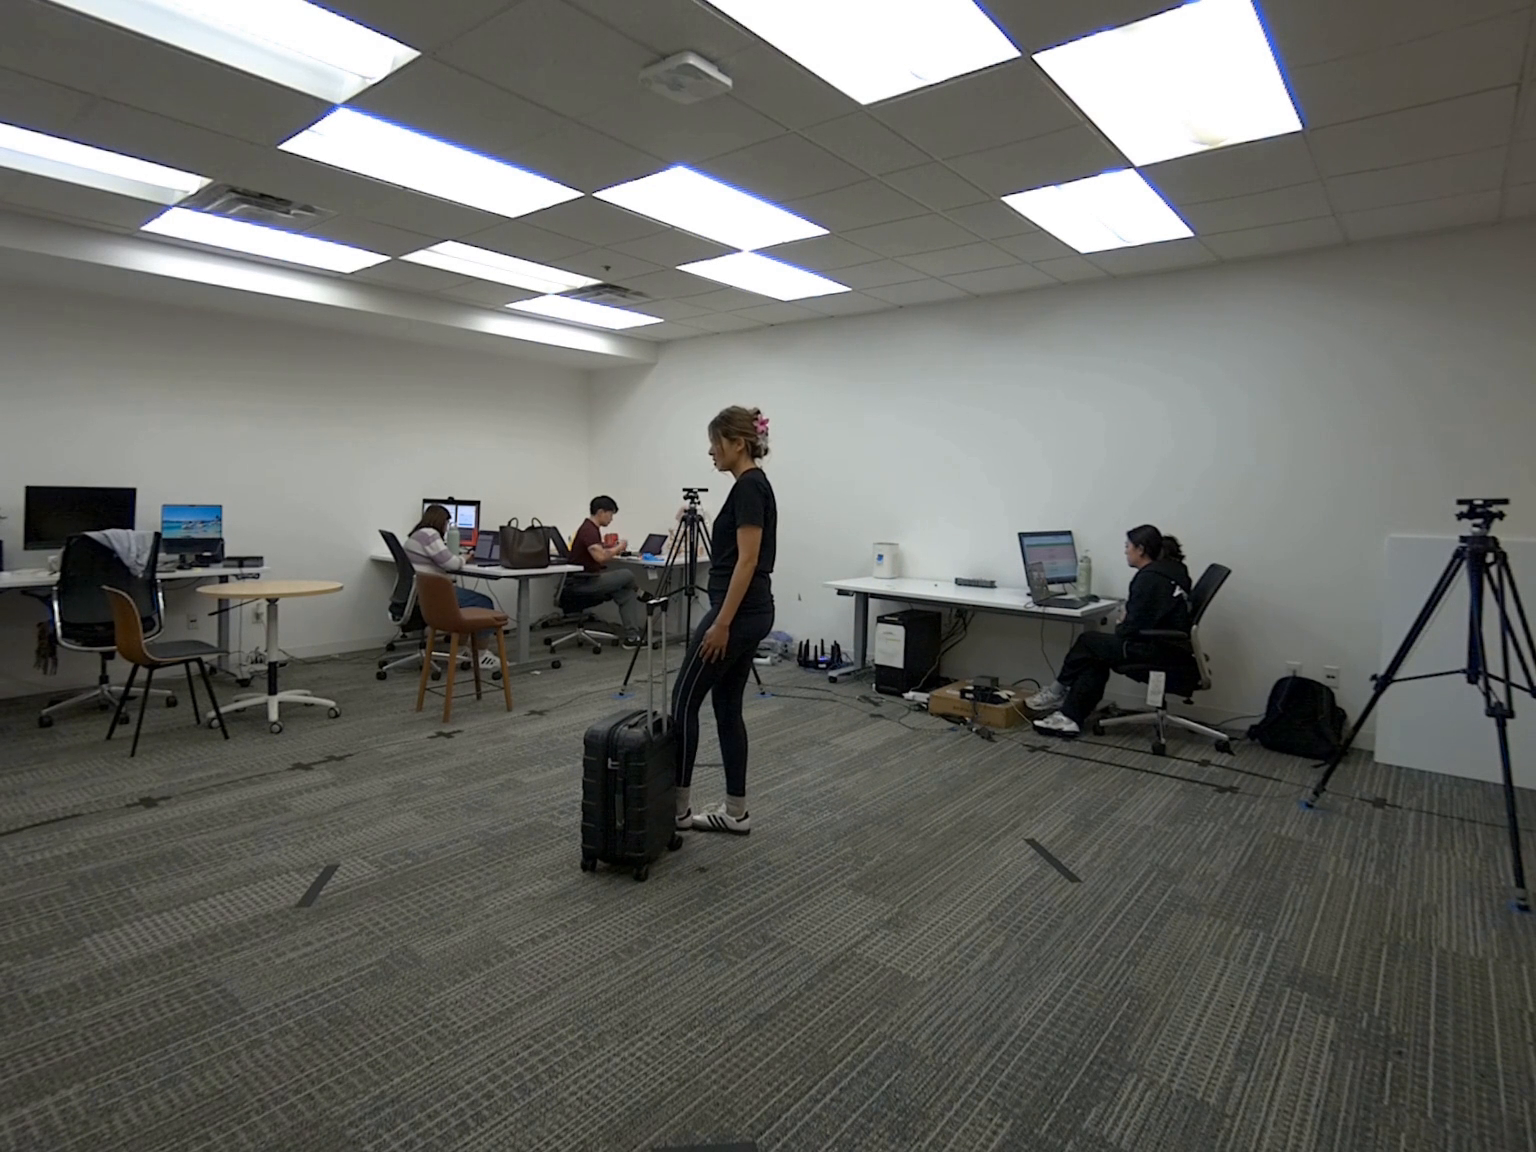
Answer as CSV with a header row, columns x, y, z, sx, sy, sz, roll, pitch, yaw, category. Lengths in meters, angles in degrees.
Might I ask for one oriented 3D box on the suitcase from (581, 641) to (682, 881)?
x,y,z,sx,sy,sz,roll,pitch,yaw,category
-0.526,0.586,3.141,0.261,0.976,0.378,0,3,15,suitcase
